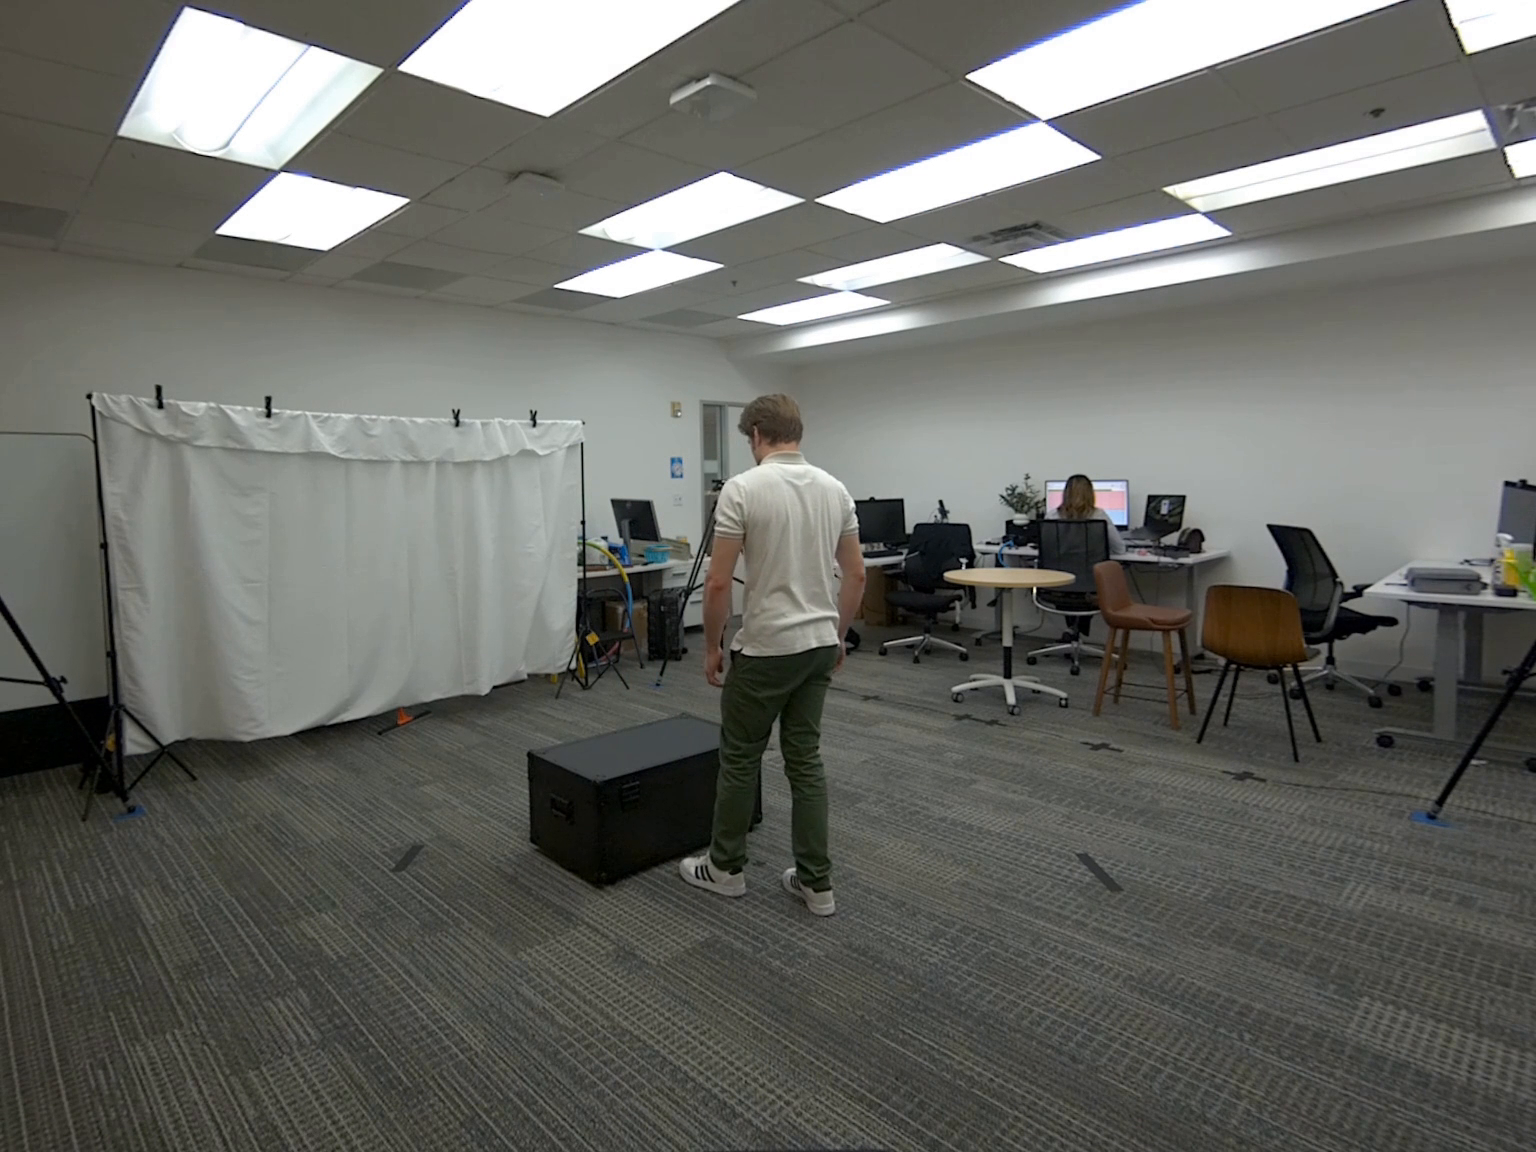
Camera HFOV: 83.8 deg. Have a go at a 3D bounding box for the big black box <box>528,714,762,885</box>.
[{"bbox_3d":[-0.447,0.835,3.366,0.839,0.394,0.537,-8,8,-43],"label":"big black box"}]
